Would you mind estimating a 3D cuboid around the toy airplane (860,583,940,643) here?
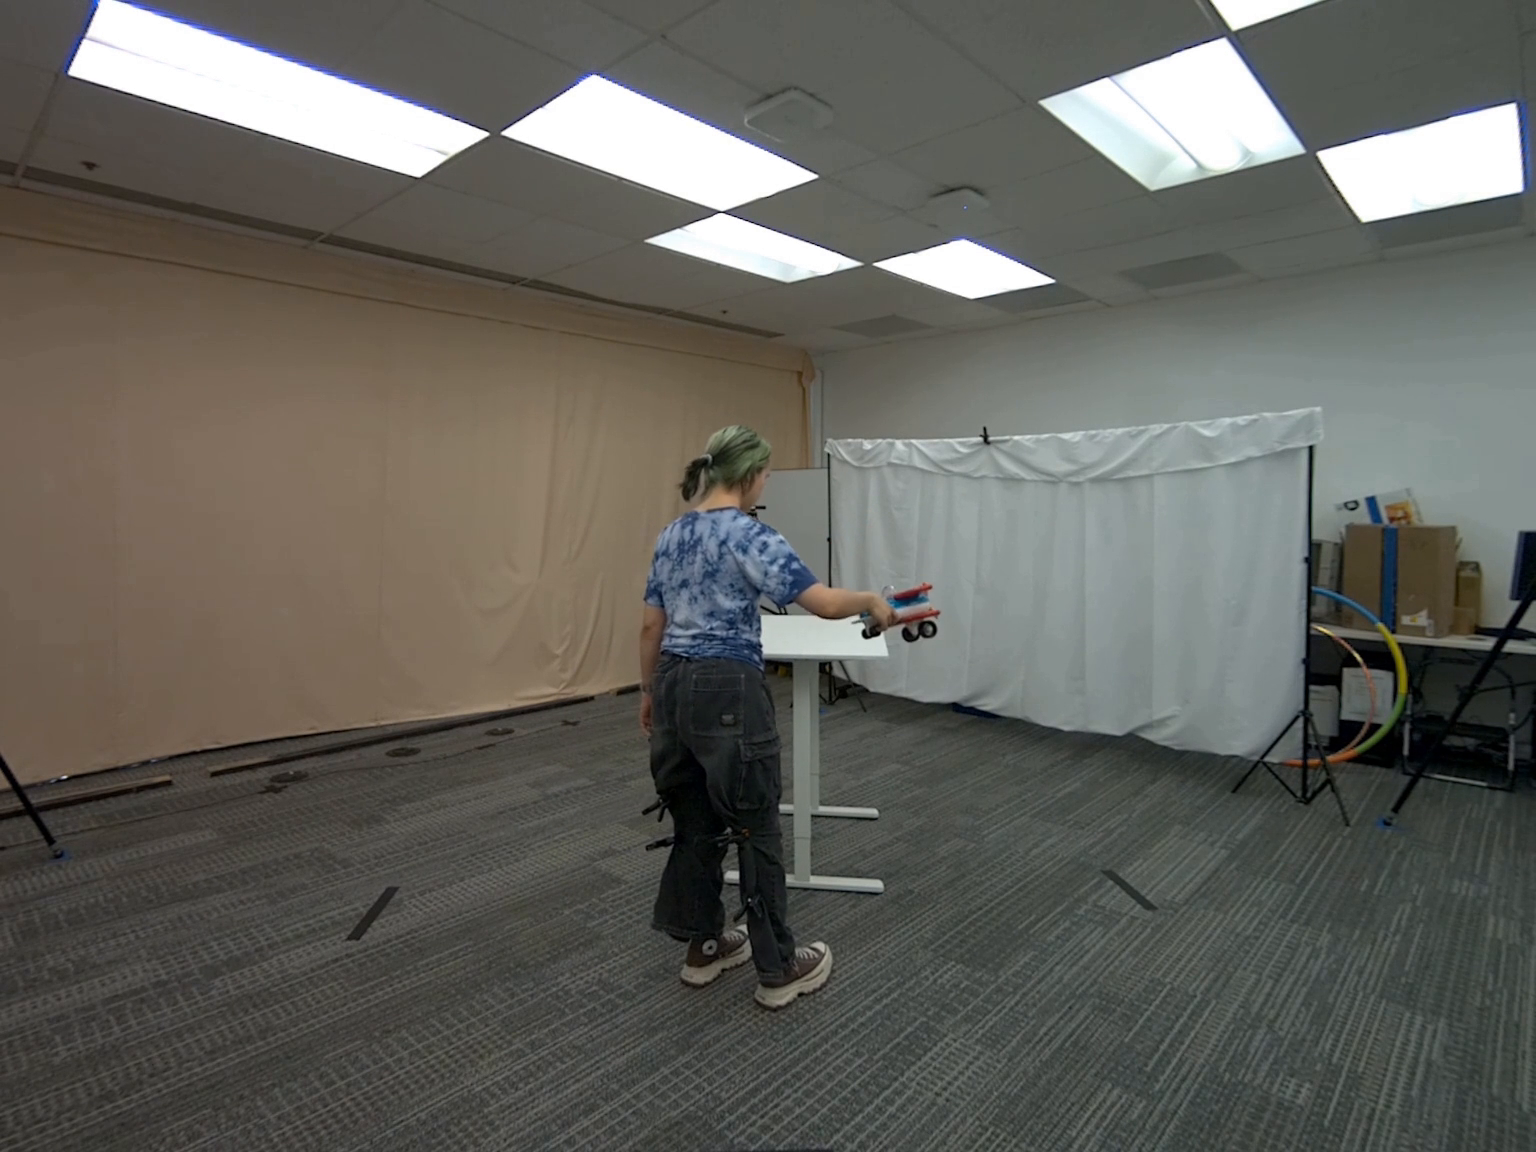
[{"bbox_3d":[0.399,0.109,2.548,0.258,0.158,0.250,-11,-17,35],"label":"toy airplane"}]
